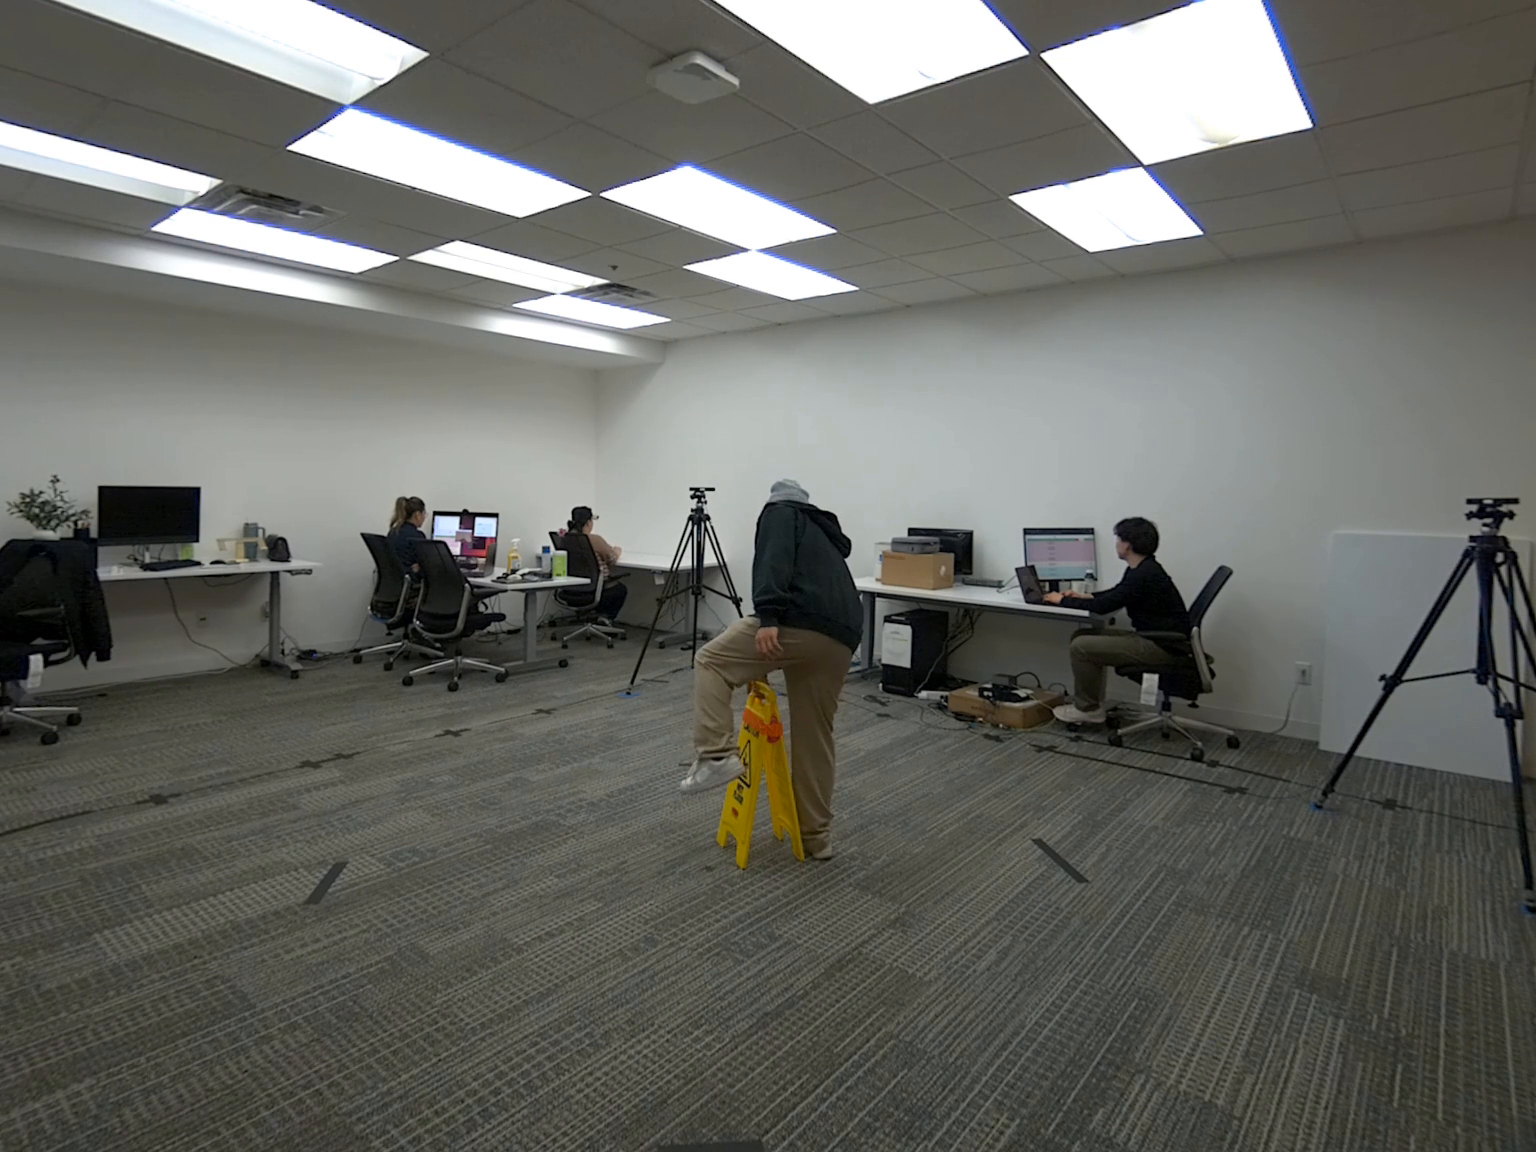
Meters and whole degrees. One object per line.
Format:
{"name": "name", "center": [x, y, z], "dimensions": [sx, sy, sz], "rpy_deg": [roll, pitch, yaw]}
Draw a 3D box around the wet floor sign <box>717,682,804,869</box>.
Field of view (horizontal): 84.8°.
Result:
{"name": "wet floor sign", "center": [-0.033, 0.729, 3.264], "dimensions": [0.284, 0.644, 0.289], "rpy_deg": [0, 3, -21]}
